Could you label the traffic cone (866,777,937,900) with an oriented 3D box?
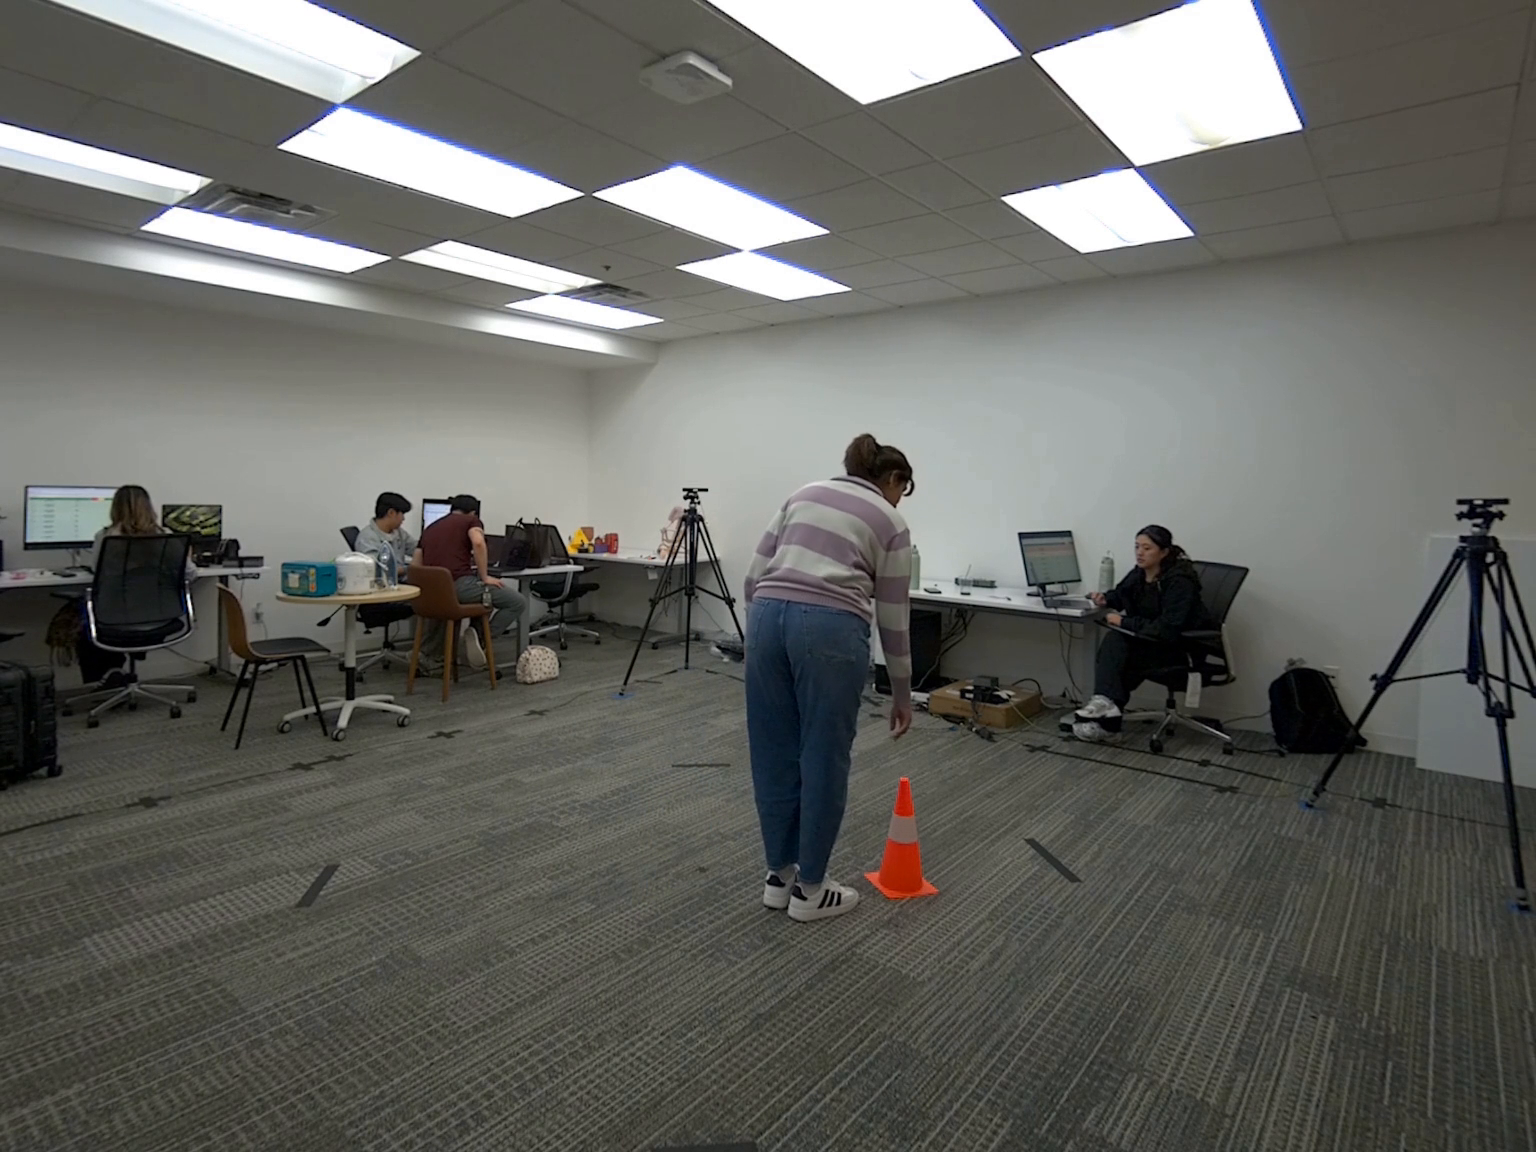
[{"bbox_3d":[0.473,0.908,3.022,0.200,0.382,0.210,1,6,-18],"label":"traffic cone"}]
